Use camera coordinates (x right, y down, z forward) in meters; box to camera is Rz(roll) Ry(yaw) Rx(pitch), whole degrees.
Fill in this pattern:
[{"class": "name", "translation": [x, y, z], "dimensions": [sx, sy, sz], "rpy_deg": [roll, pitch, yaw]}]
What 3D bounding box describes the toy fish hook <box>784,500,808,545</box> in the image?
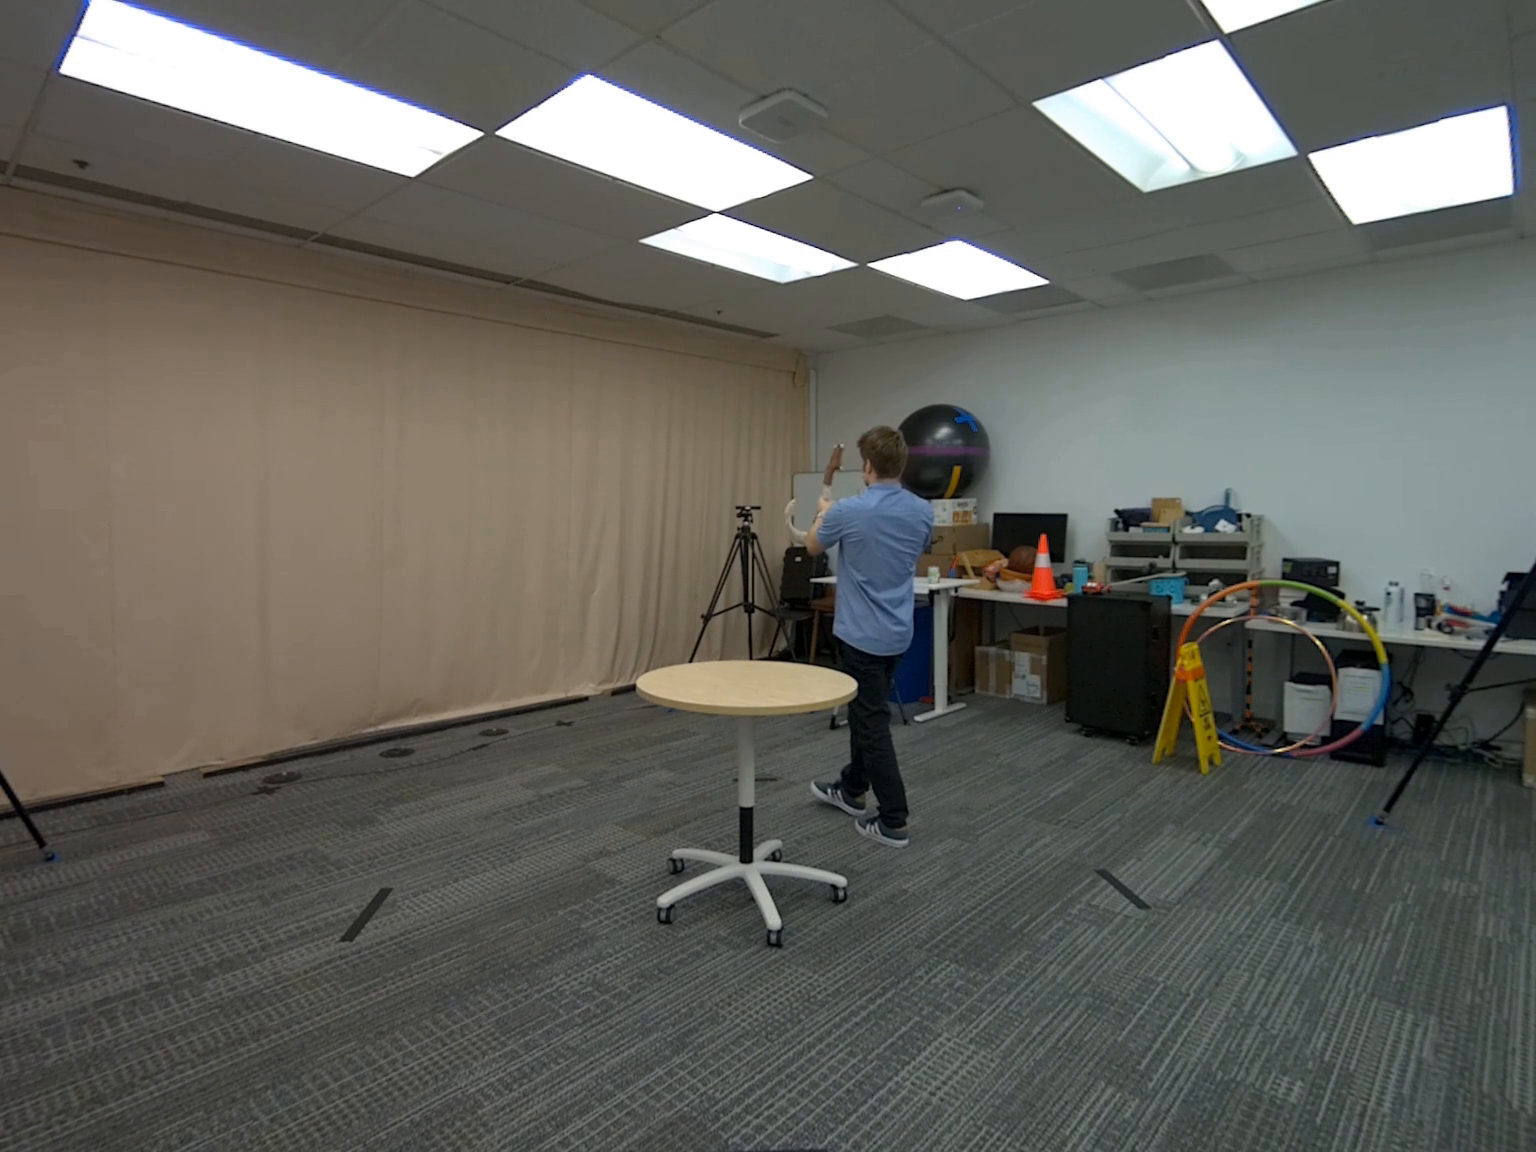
[{"class": "toy fish hook", "translation": [0.223, -0.388, 3.942], "dimensions": [0.228, 0.505, 0.047], "rpy_deg": [15, 7, 14]}]
